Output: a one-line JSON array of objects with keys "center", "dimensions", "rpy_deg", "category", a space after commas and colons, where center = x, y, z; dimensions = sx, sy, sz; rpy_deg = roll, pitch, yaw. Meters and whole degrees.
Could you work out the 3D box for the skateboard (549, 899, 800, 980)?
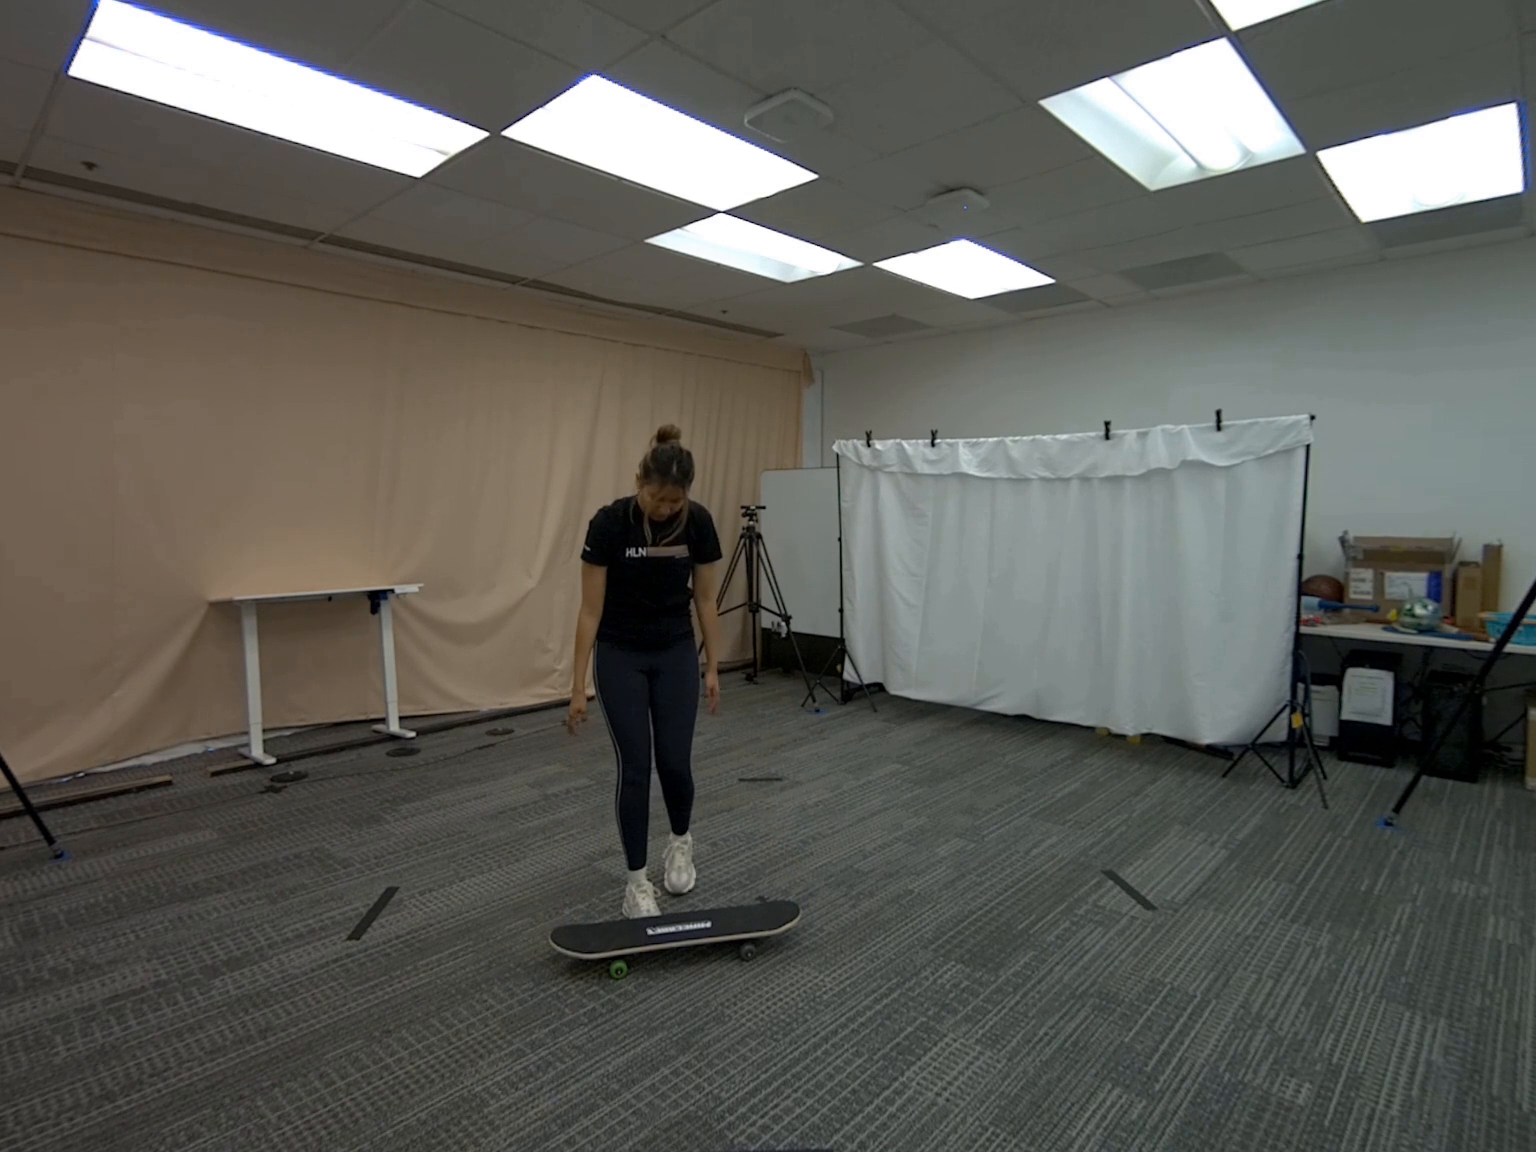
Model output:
[{"center": [-0.272, 1.122, 2.602], "dimensions": [0.774, 0.110, 0.196], "rpy_deg": [-1, 3, -13], "category": "skateboard"}]
